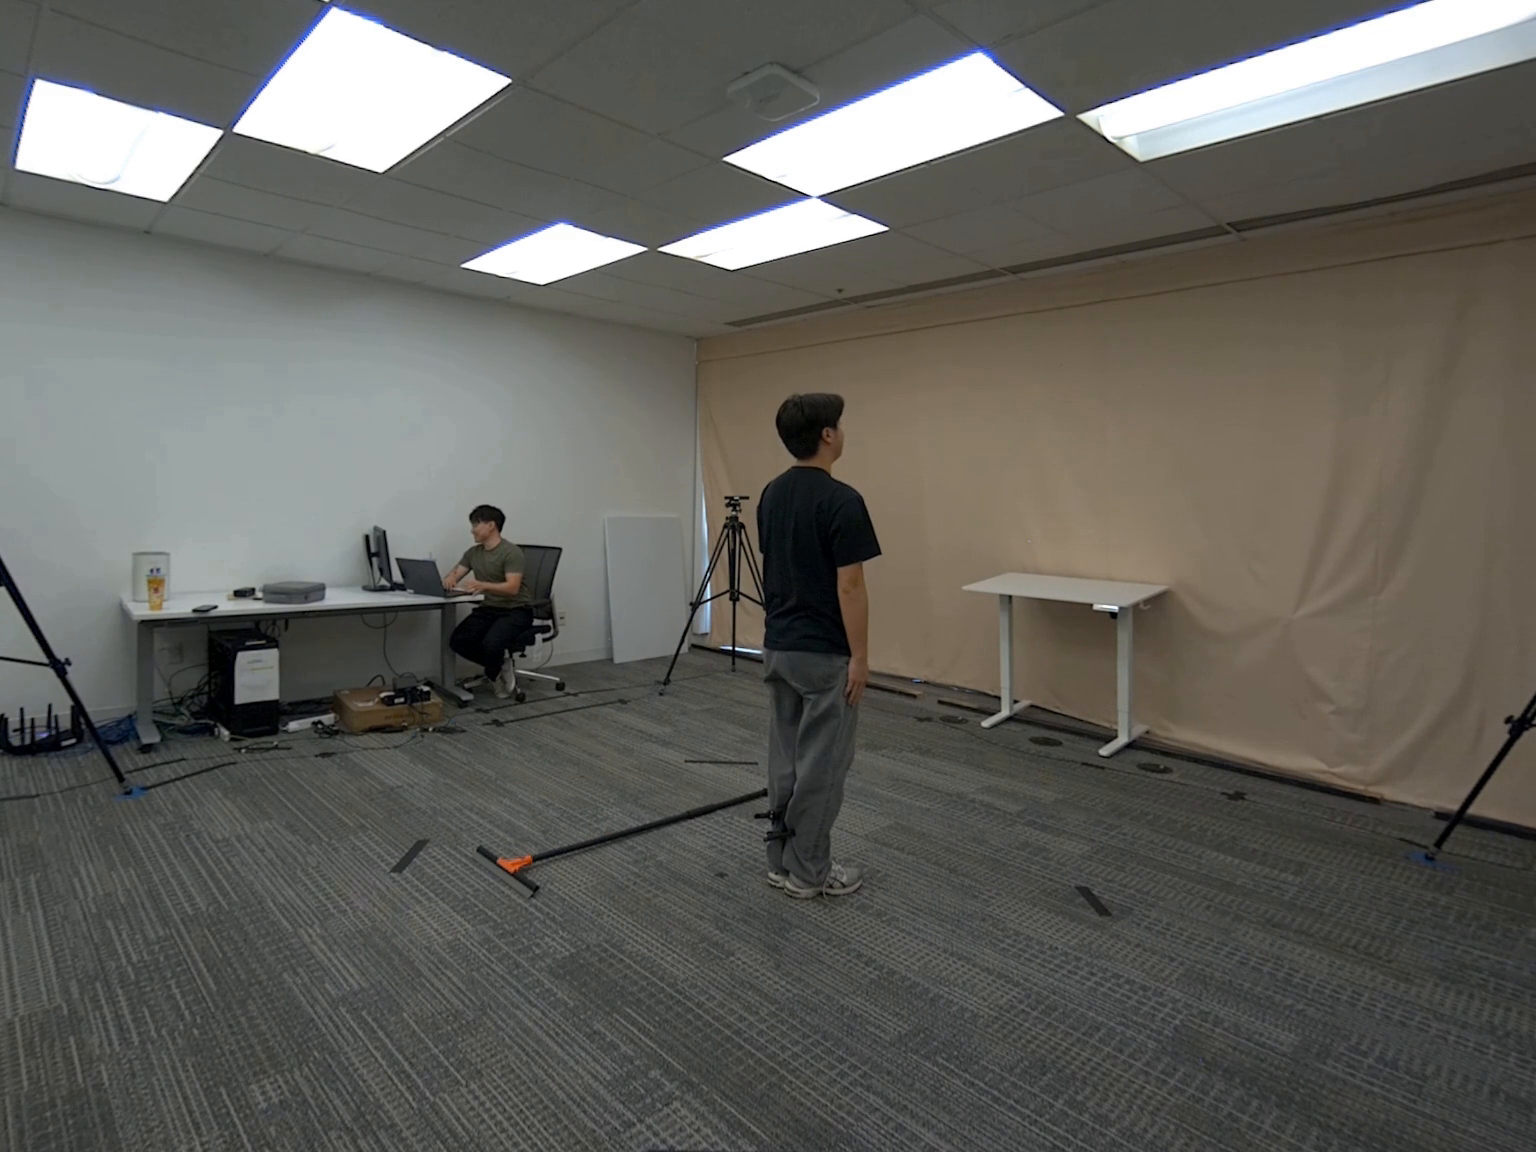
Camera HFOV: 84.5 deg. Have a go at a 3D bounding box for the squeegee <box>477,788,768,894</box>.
[{"bbox_3d":[-0.427,1.020,3.550,1.502,0.053,0.449,-2,7,-43],"label":"squeegee"}]
